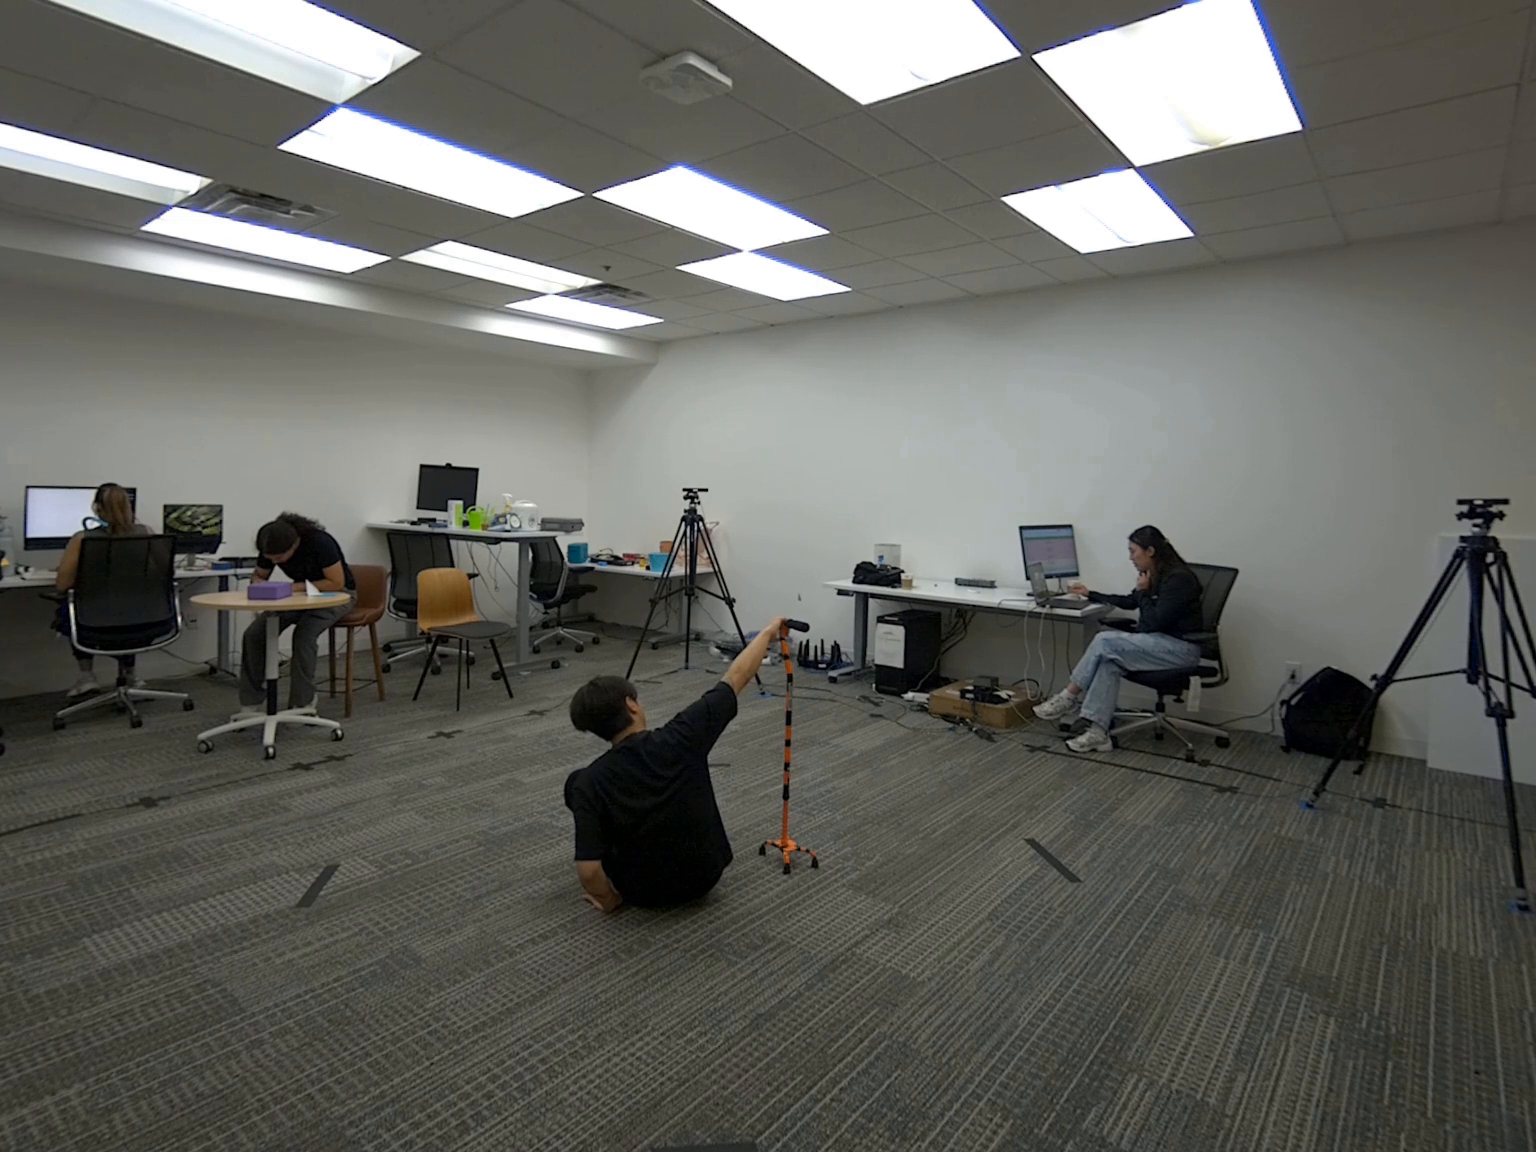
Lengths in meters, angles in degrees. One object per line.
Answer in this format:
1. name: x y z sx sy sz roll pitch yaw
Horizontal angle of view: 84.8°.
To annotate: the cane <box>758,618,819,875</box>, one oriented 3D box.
1. cane: 0.078 0.619 3.179 0.147 0.906 0.212 0 3 -30
